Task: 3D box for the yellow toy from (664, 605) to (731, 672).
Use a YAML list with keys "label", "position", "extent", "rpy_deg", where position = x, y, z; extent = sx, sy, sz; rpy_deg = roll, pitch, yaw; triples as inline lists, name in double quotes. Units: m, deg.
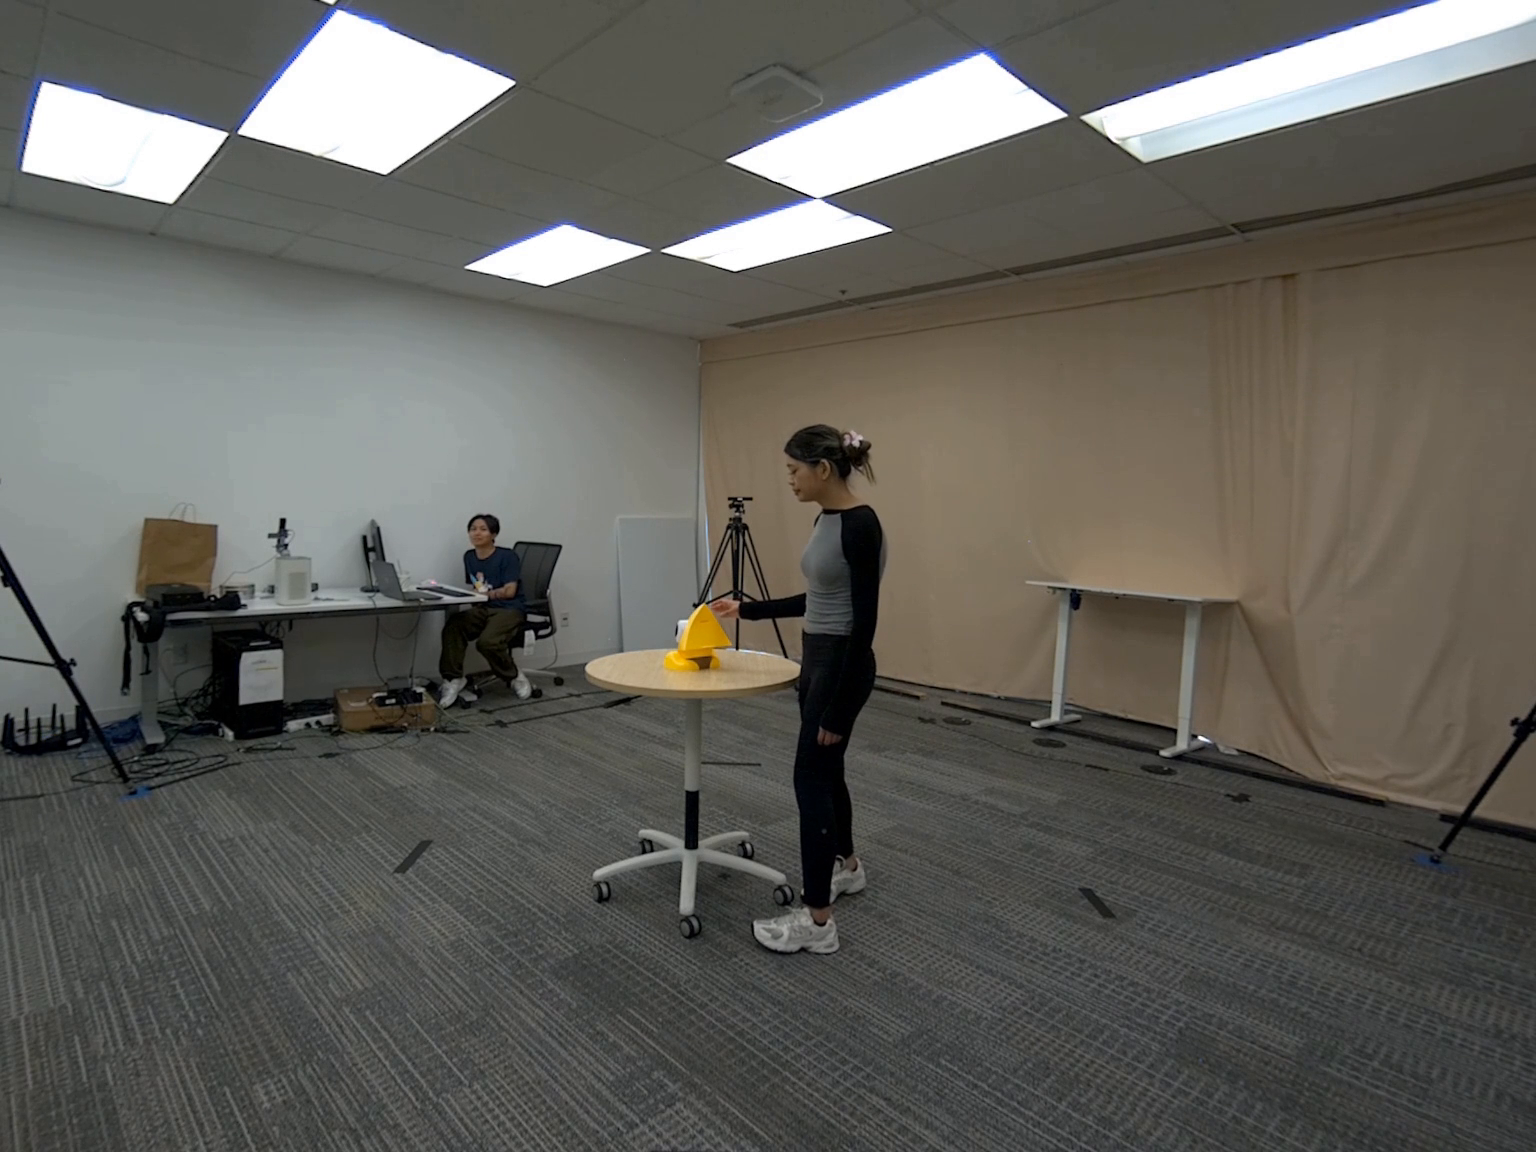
- label: "yellow toy"
  position: [-0.273, 0.208, 2.990]
  extent: [0.200, 0.230, 0.198]
  rpy_deg: [-2, 4, -40]
